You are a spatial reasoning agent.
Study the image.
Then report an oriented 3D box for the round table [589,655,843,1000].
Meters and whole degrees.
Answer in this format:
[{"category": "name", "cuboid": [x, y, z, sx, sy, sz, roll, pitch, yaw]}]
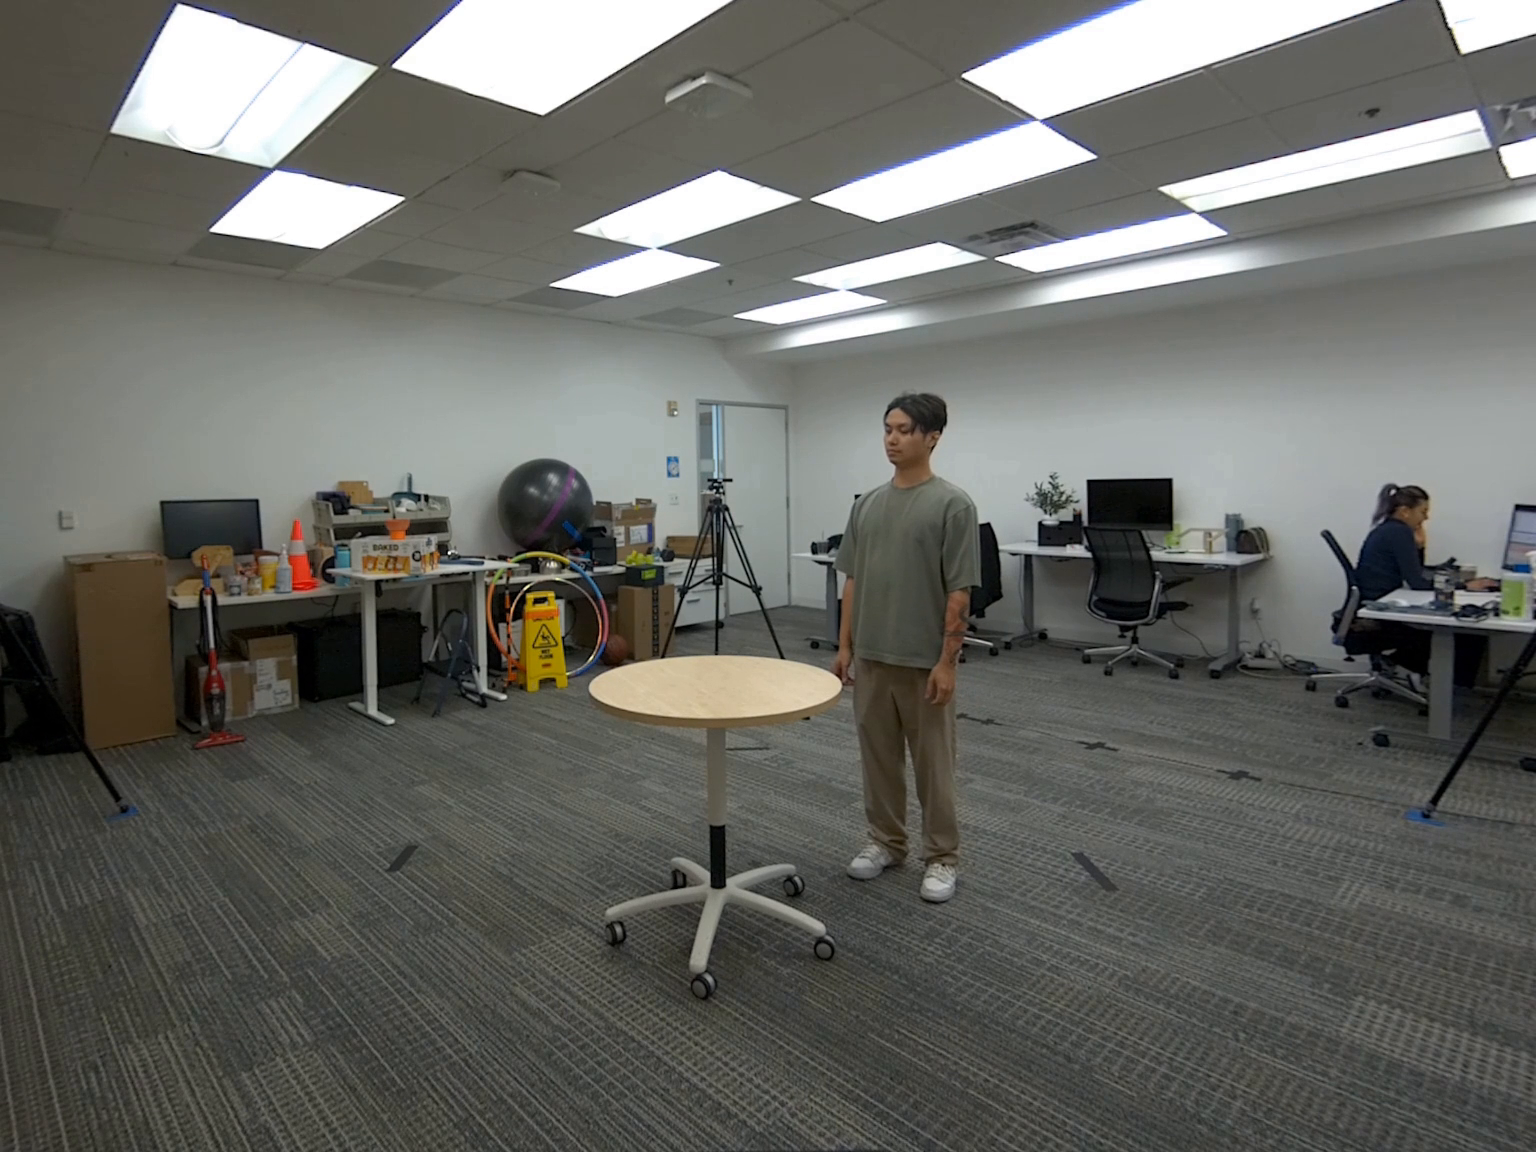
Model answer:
[{"category": "round table", "cuboid": [-0.160, 0.711, 2.630, 0.784, 0.783, 0.789, -1, 5, -2]}]
